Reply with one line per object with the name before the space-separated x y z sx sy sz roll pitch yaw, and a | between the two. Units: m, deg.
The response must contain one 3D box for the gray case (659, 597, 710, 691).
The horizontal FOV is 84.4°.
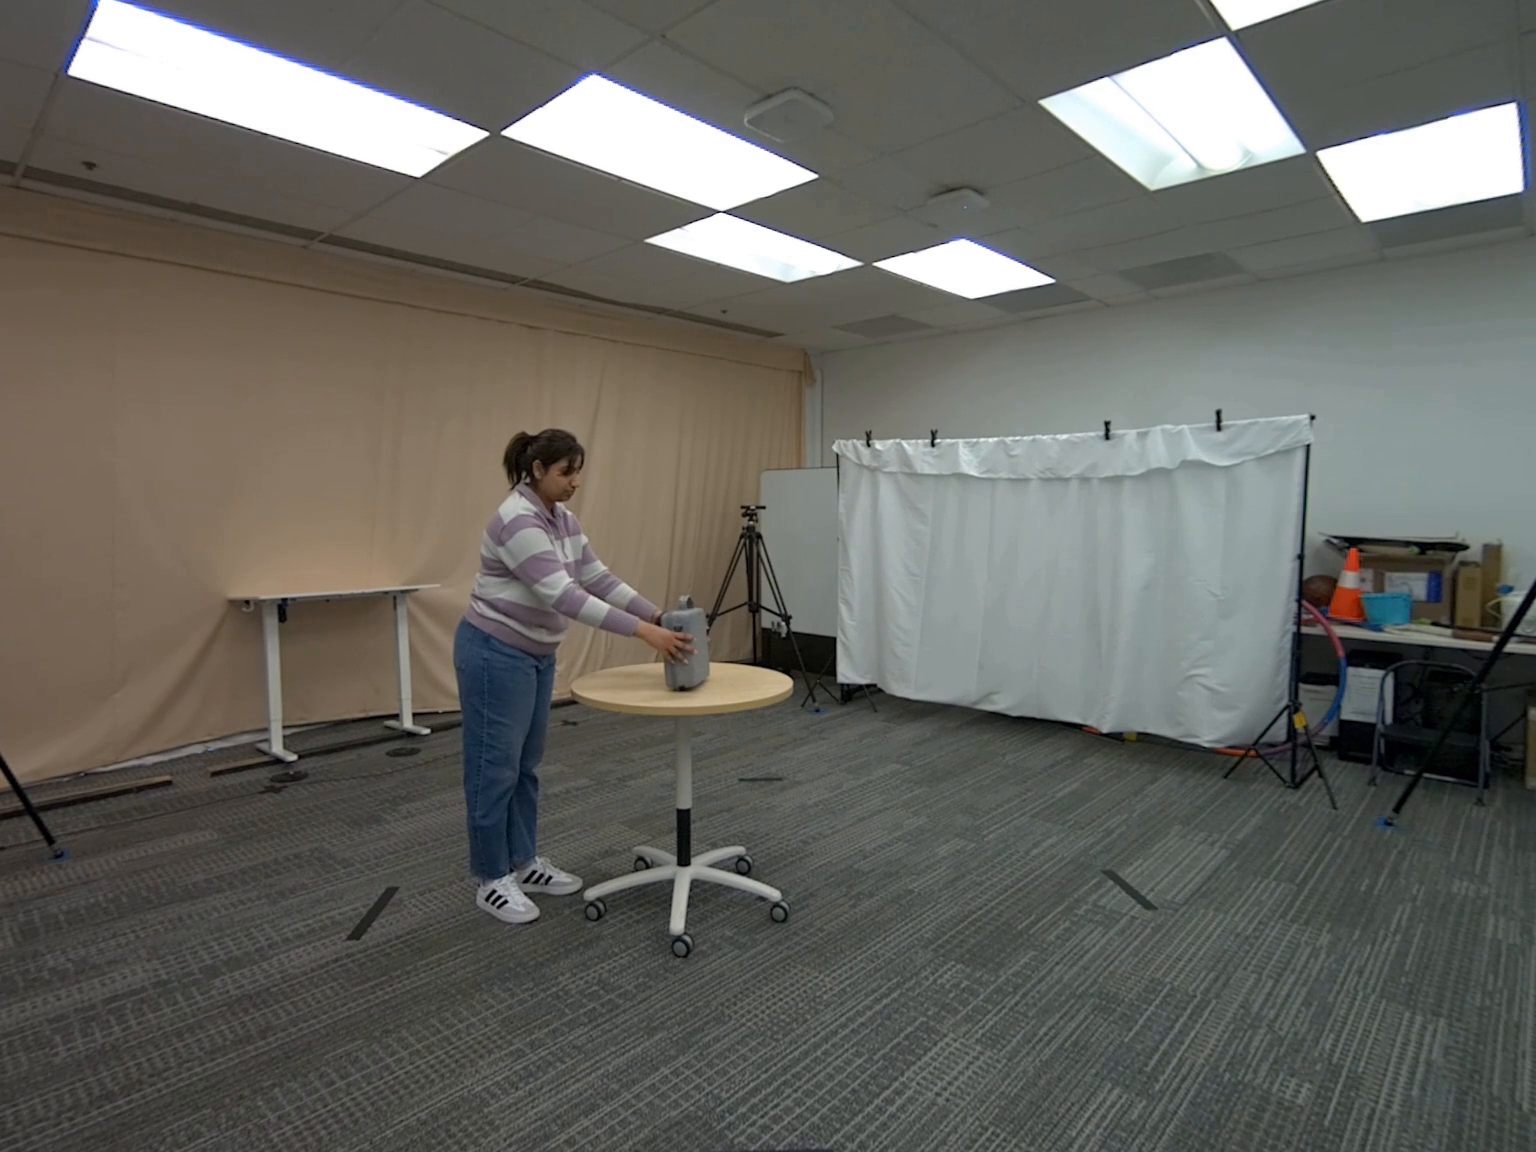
gray case | -0.273 0.241 2.848 0.105 0.260 0.254 0 2 10
